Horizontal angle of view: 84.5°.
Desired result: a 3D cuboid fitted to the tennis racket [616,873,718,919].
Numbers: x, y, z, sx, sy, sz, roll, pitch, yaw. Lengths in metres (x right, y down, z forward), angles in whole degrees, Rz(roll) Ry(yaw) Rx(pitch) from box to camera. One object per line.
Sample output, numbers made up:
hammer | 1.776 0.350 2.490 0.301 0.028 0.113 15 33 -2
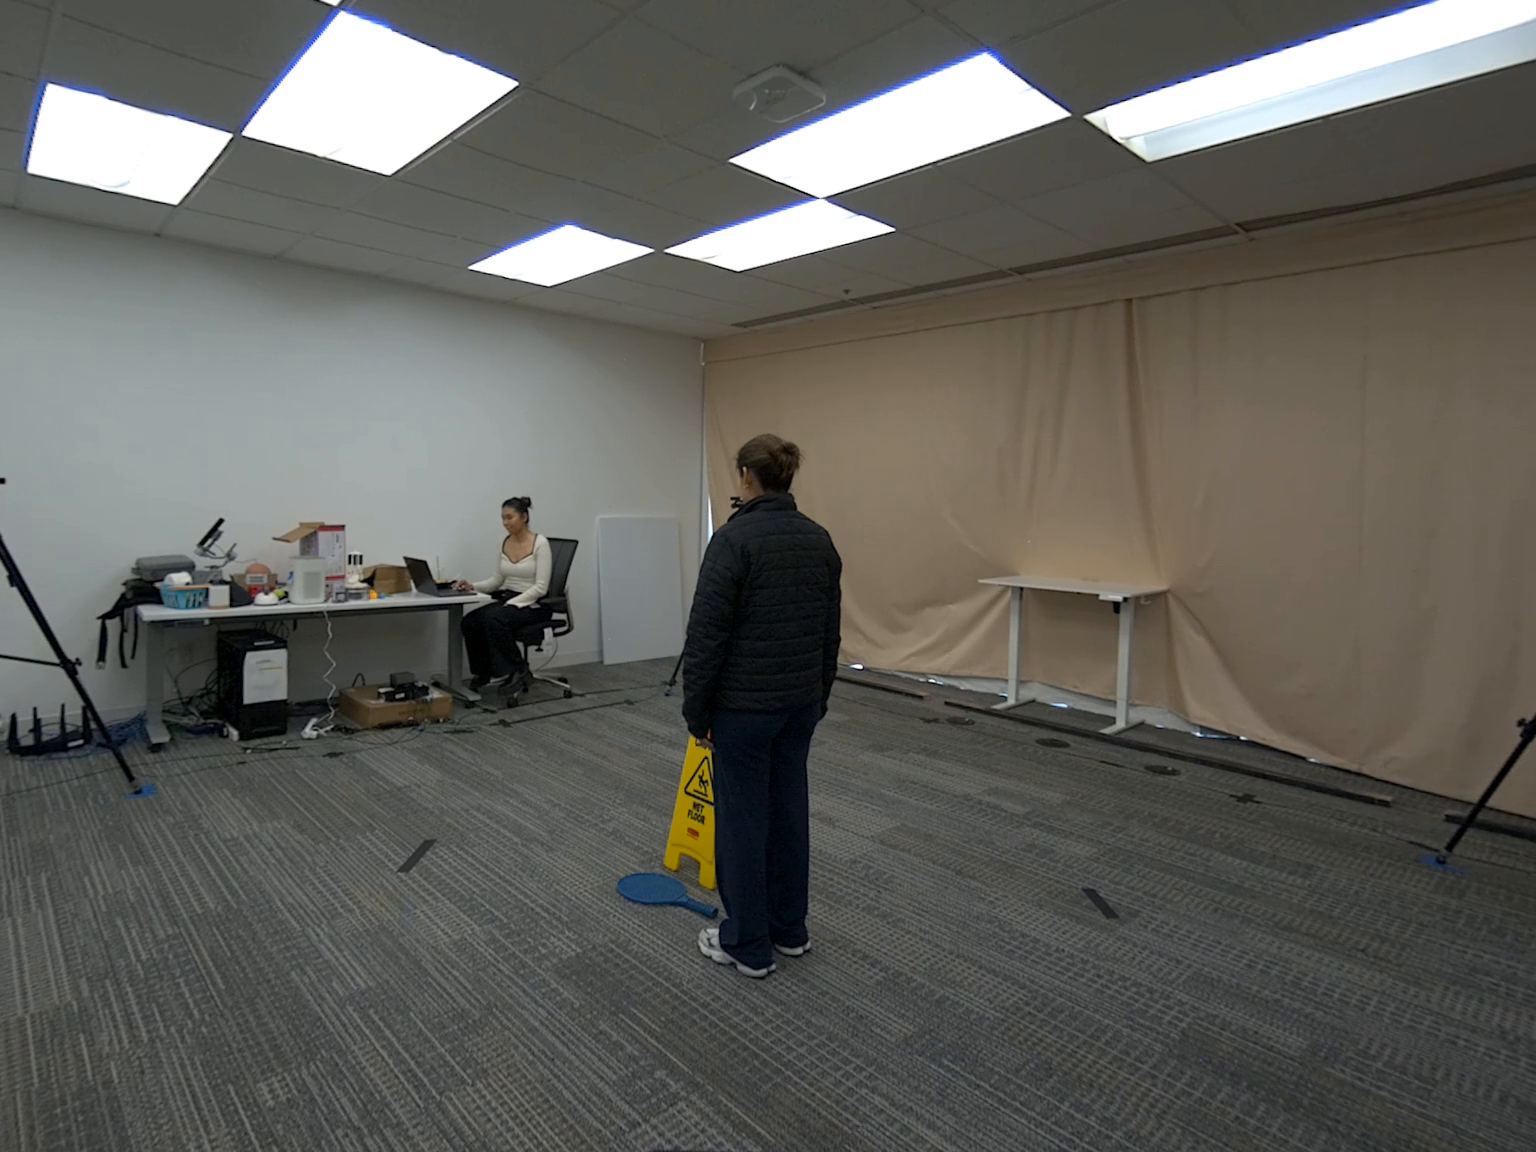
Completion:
tennis racket | -0.349 1.109 2.912 0.443 0.031 0.209 2 6 35
